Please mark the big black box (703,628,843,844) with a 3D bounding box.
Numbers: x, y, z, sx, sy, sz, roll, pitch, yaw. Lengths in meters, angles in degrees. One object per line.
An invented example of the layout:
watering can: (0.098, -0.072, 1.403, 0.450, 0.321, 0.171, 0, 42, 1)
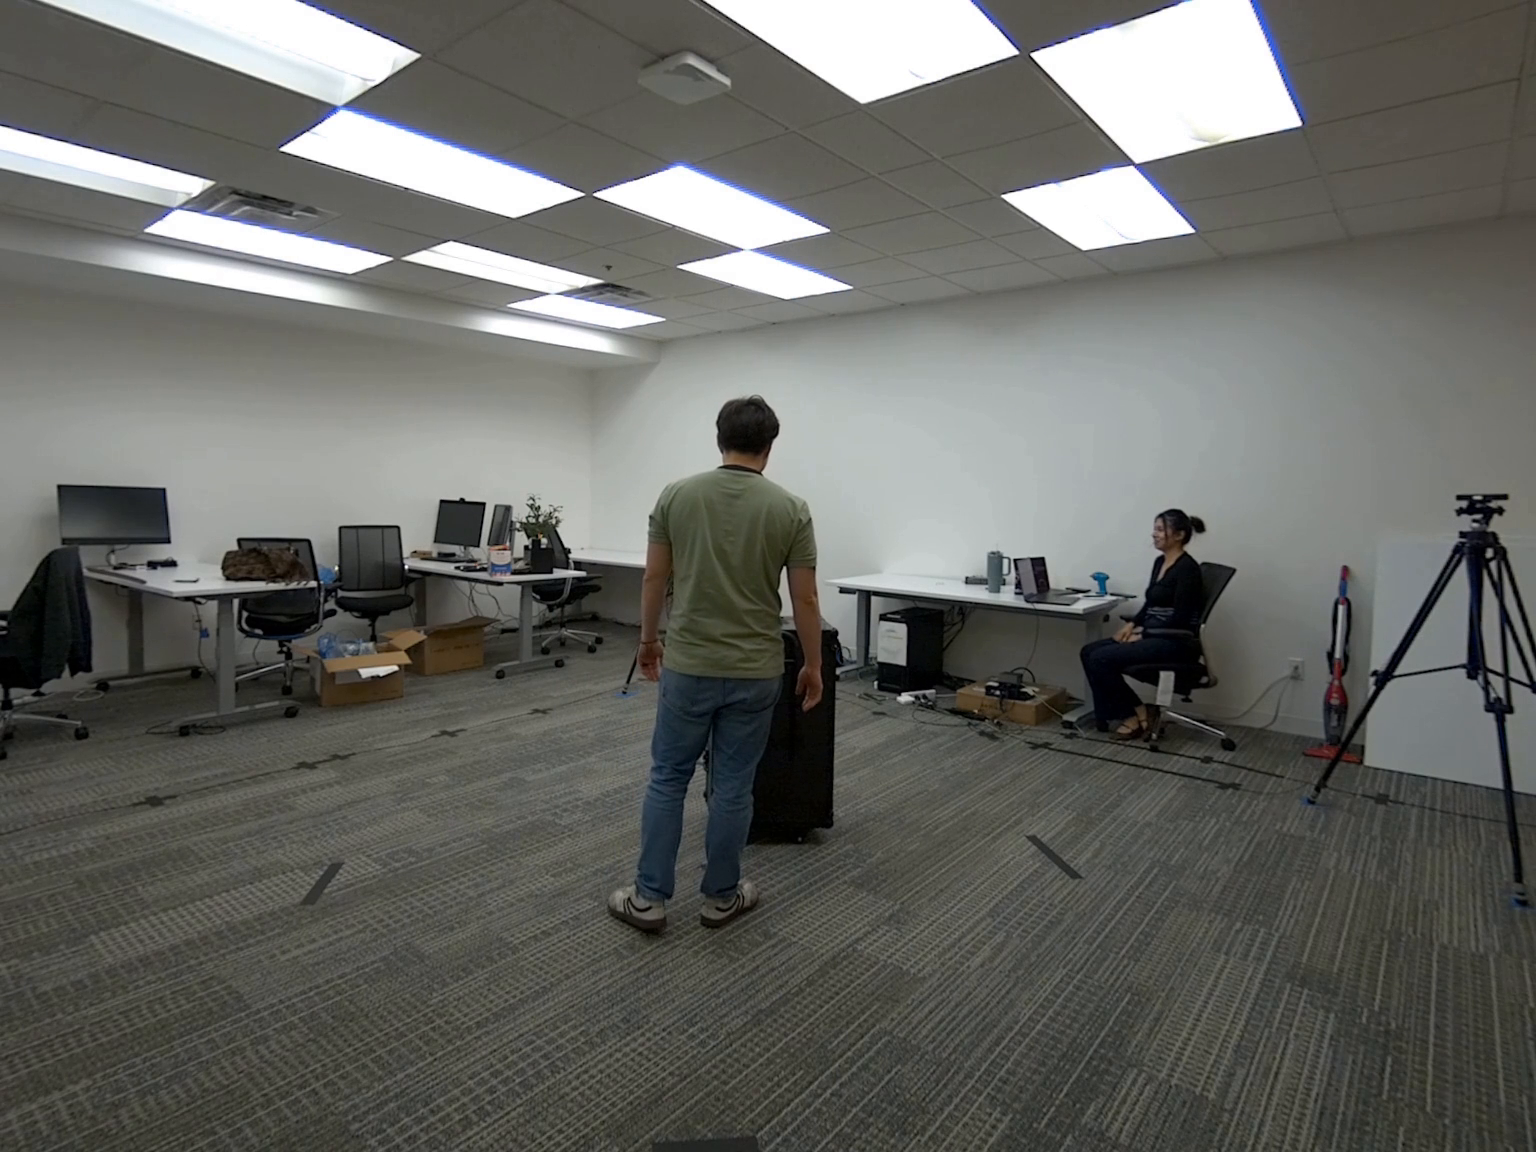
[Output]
big black box: (0.003, 0.609, 3.452, 0.520, 0.859, 0.399, 1, 4, -3)
